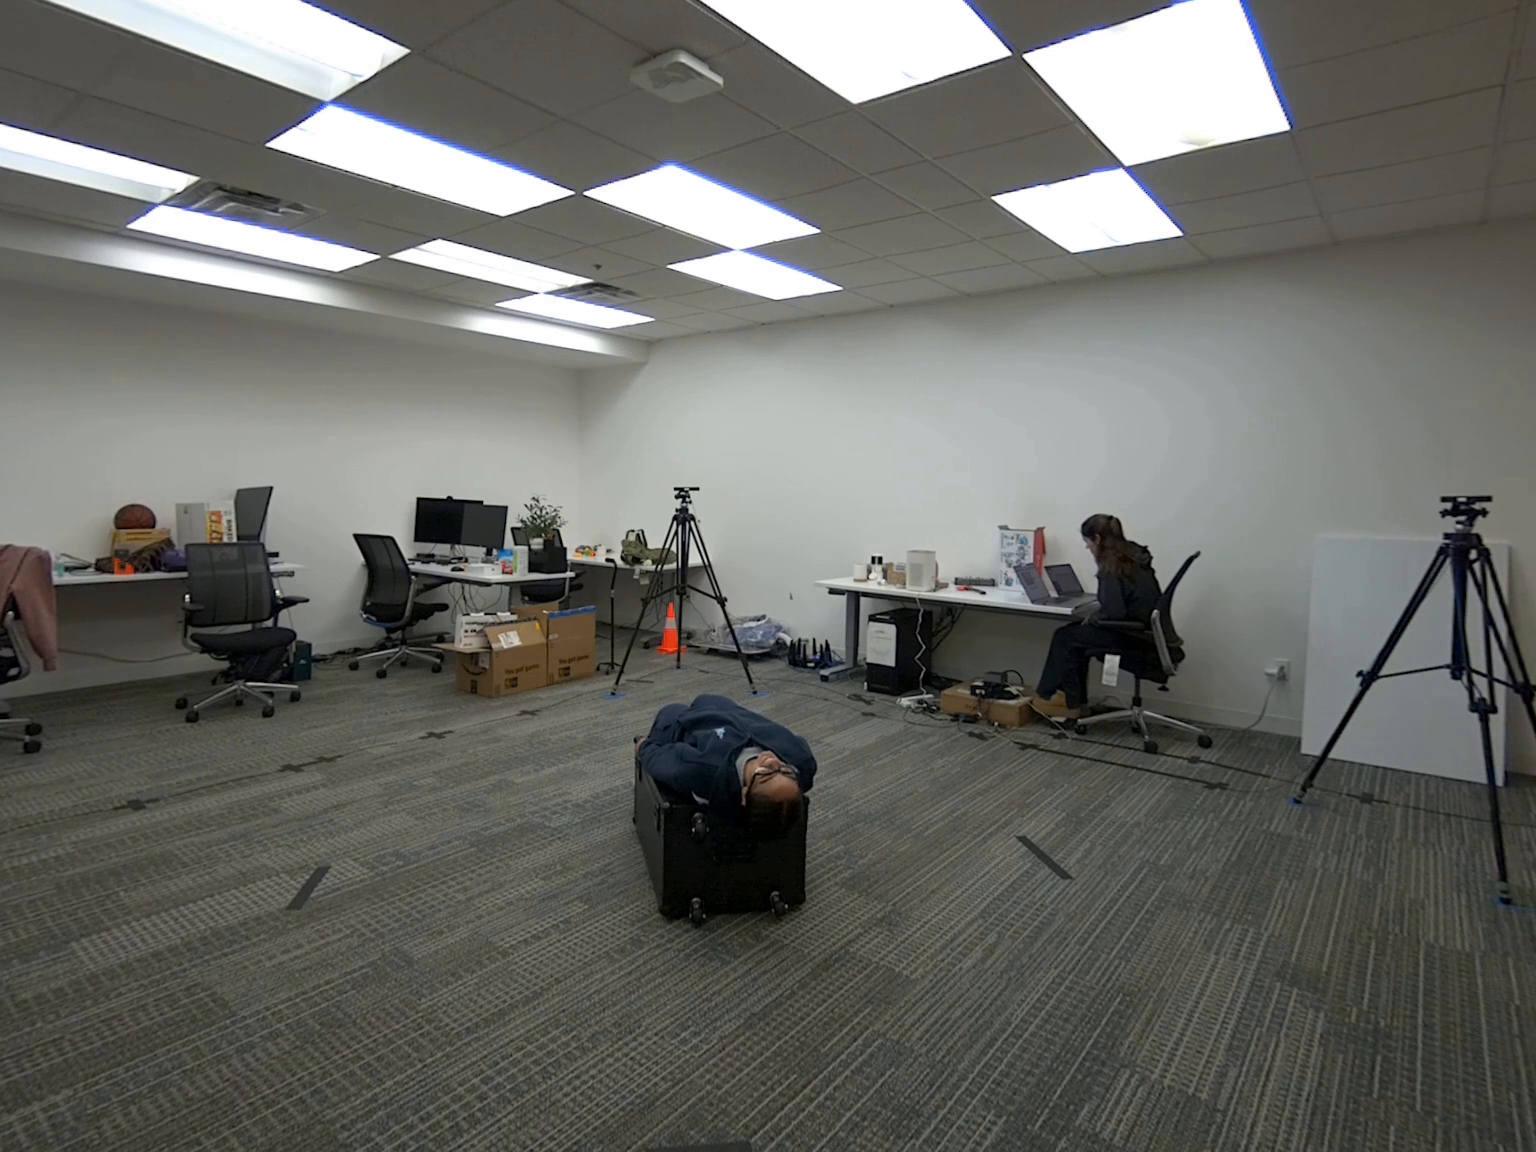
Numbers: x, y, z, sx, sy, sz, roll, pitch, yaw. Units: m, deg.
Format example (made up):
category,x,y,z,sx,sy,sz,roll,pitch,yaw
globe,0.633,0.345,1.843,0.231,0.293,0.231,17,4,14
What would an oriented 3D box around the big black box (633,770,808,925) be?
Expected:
category,x,y,z,sx,sy,sz,roll,pitch,yaw
big black box,-0.208,0.876,3.092,0.513,0.395,0.877,1,4,-15
